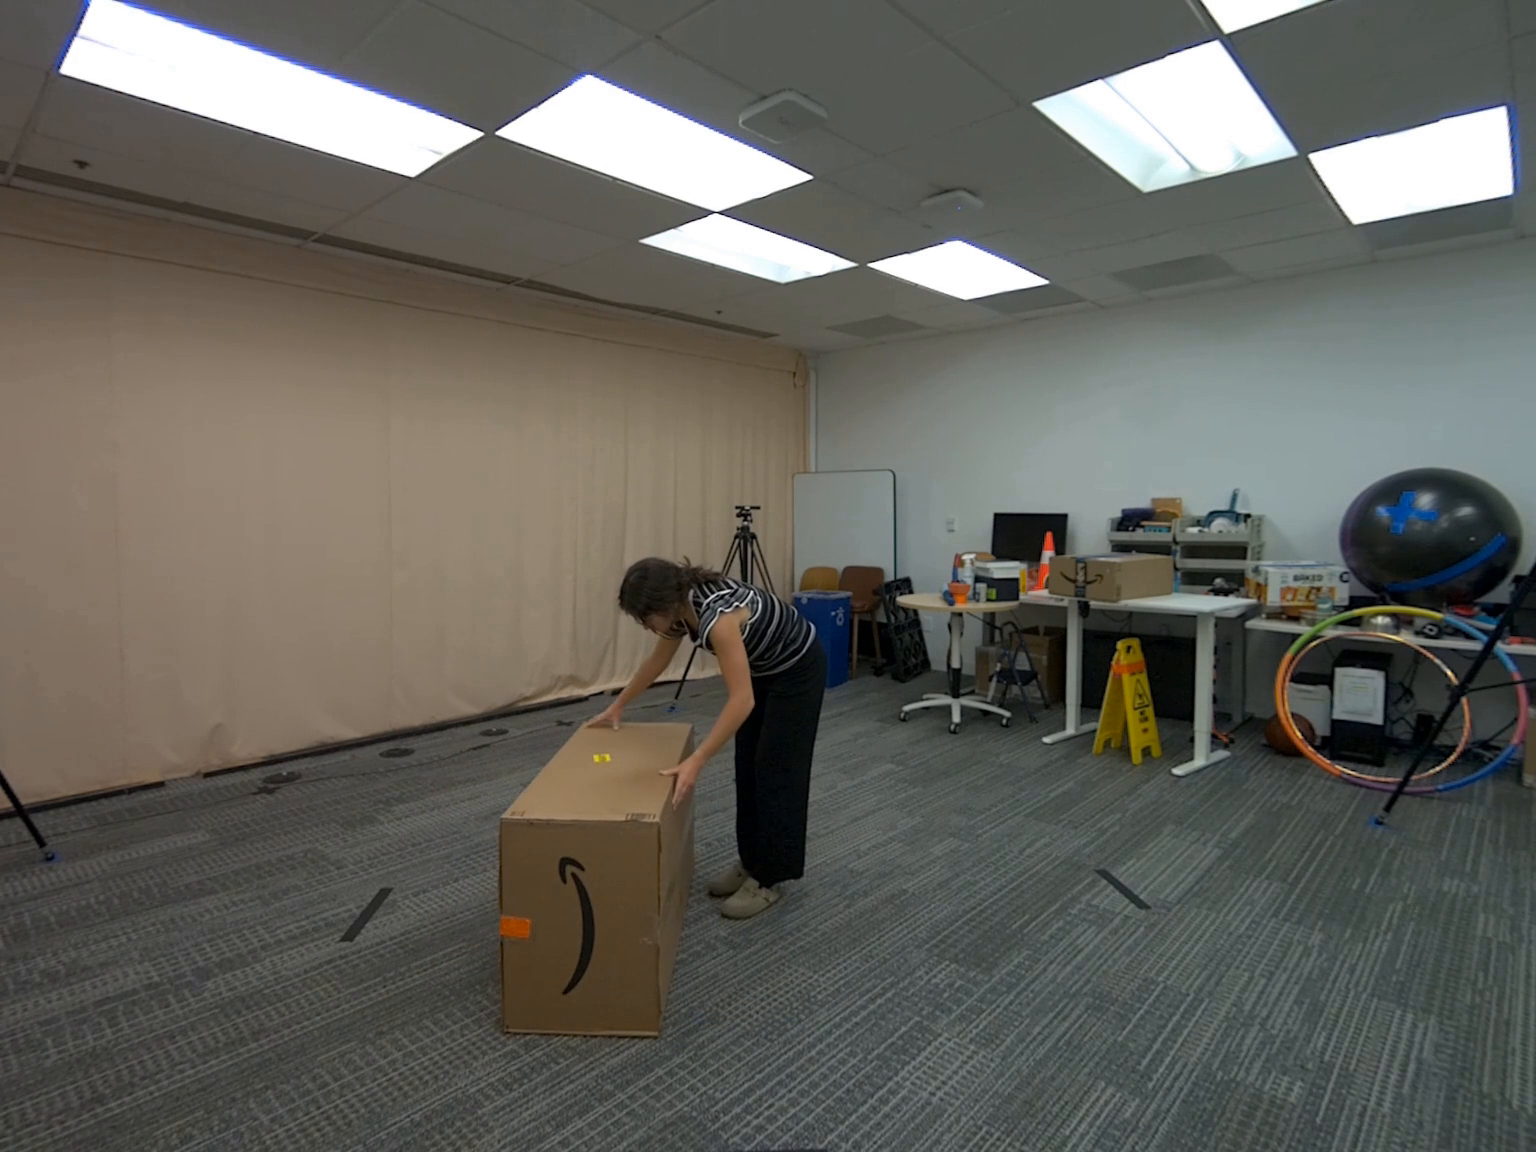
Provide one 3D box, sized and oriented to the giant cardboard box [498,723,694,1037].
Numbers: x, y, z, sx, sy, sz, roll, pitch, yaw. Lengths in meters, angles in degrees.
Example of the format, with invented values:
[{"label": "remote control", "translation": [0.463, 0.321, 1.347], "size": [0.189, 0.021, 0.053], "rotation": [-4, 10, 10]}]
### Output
[{"label": "giant cardboard box", "translation": [-0.501, 0.876, 2.704], "size": [0.427, 0.576, 1.025], "rotation": [0, 3, 1]}]
